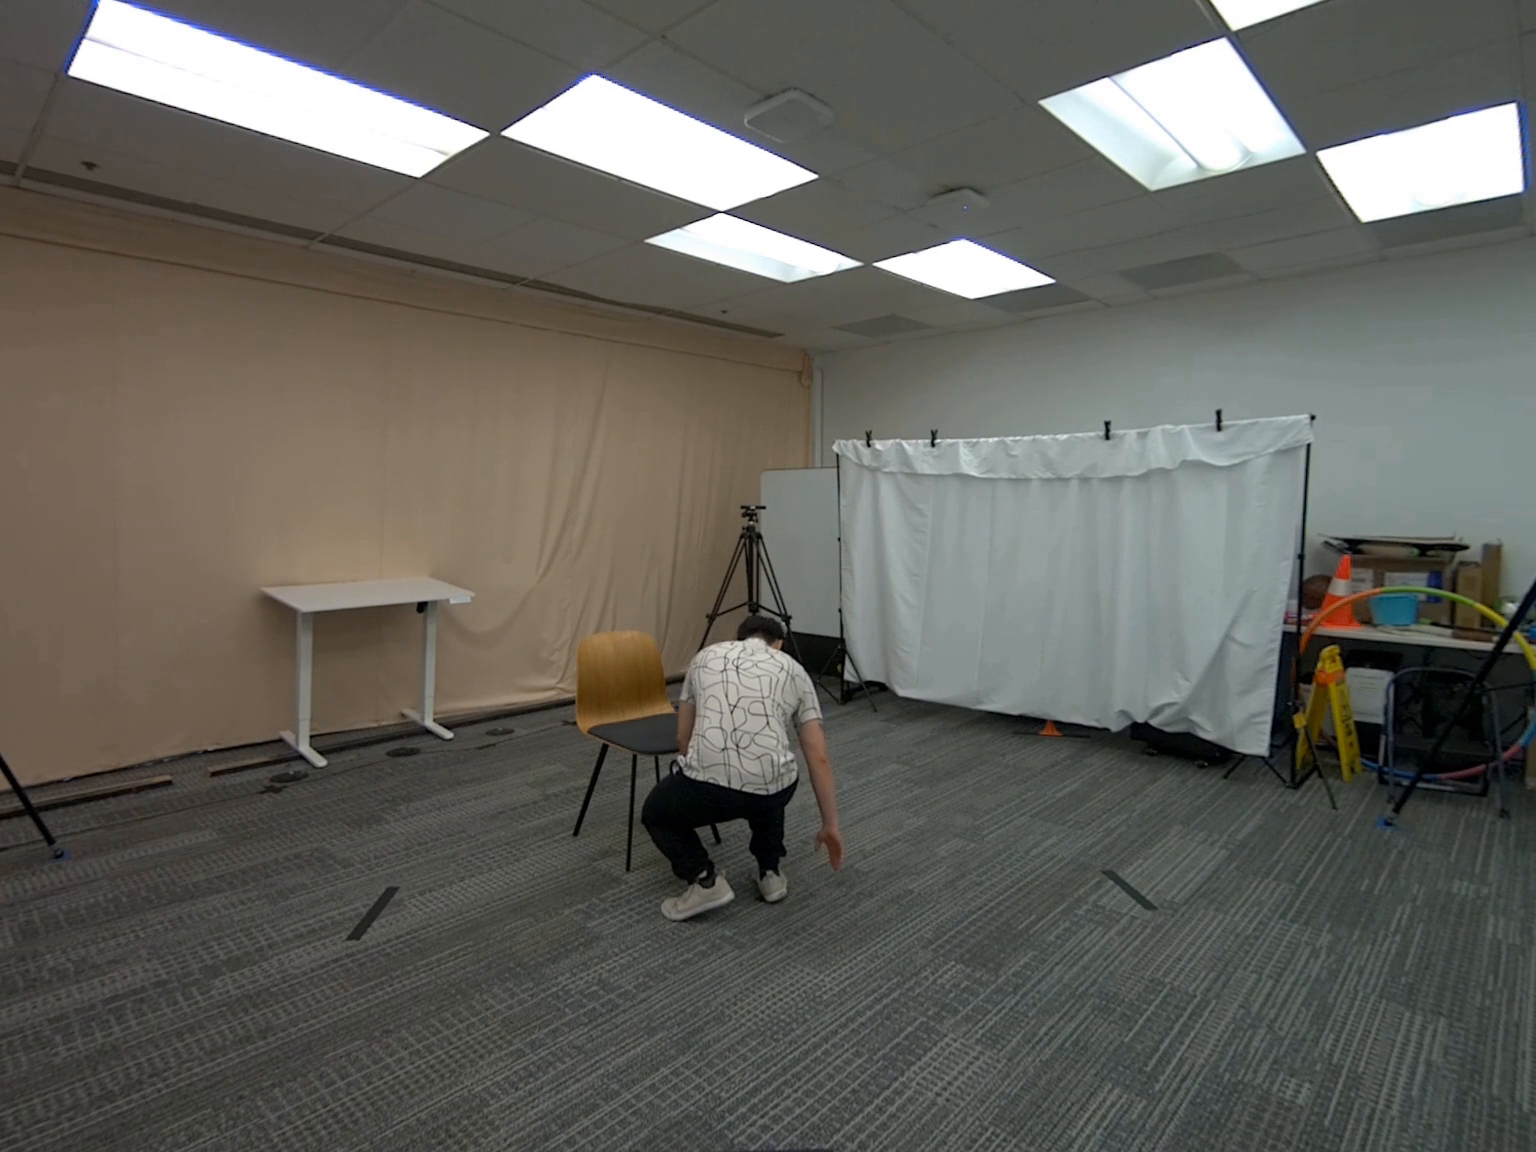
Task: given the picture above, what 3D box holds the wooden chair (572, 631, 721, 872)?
[{"bbox_3d":[-0.510,0.679,3.494,0.464,0.878,0.539,-2,-1,-38],"label":"wooden chair"}]
